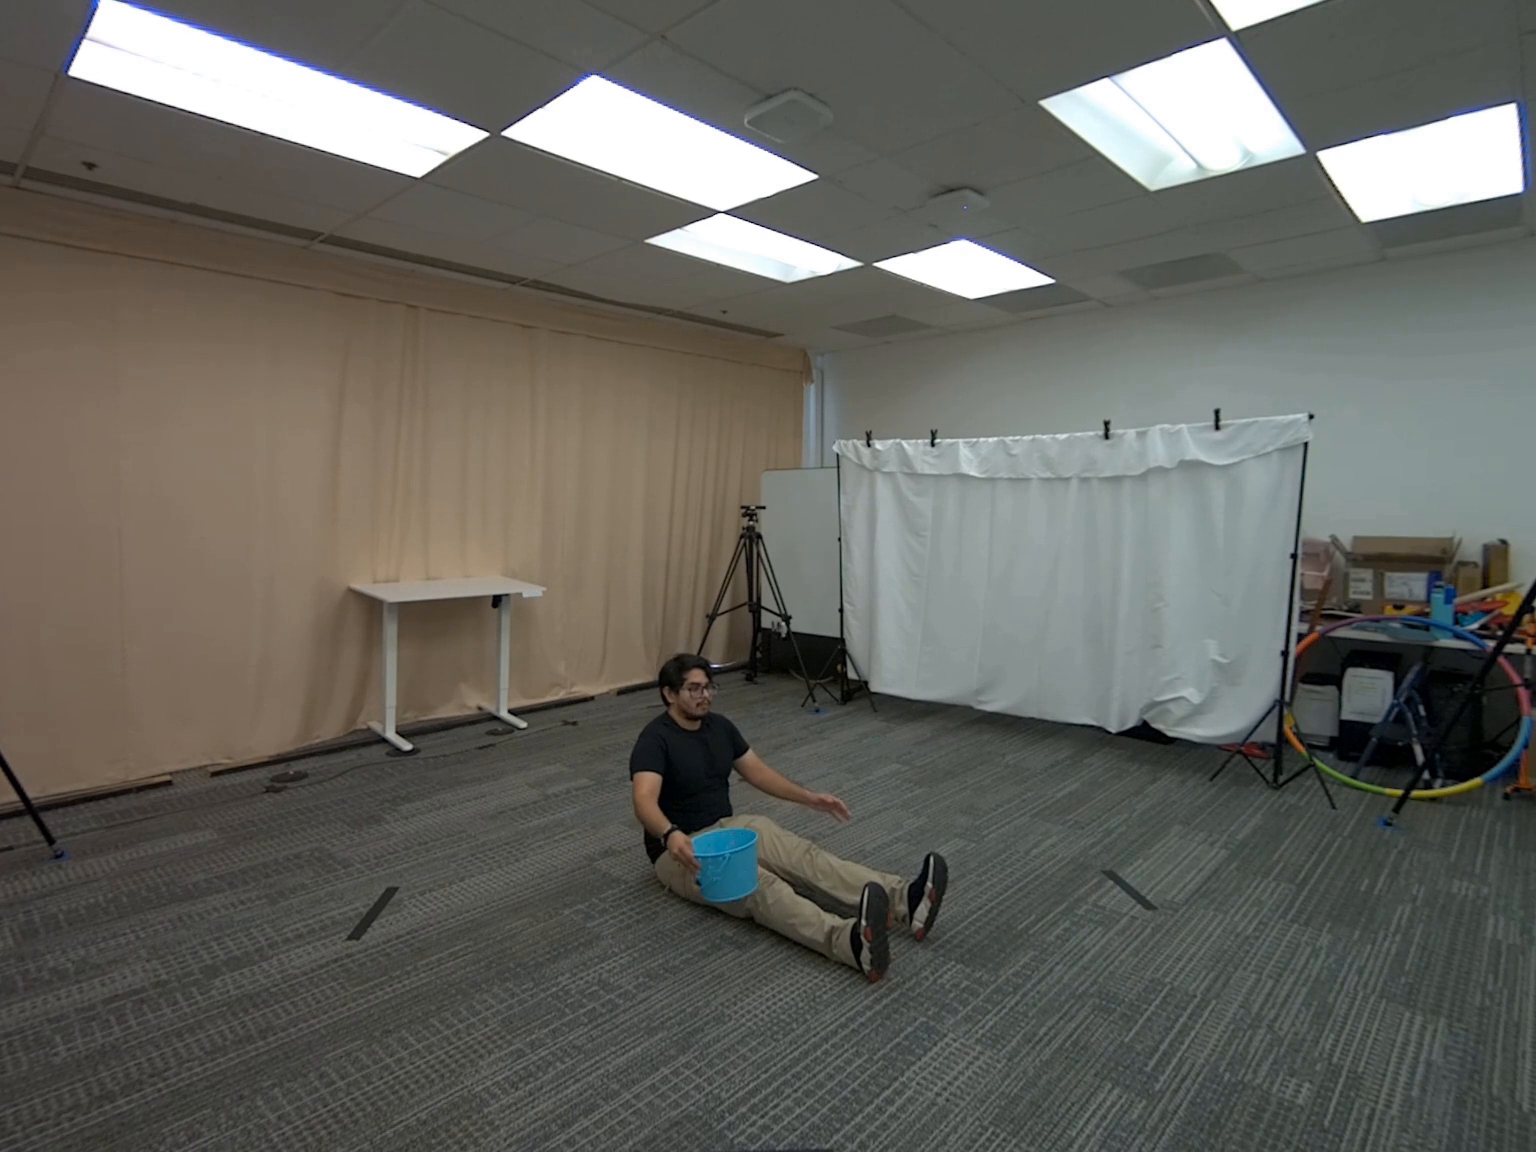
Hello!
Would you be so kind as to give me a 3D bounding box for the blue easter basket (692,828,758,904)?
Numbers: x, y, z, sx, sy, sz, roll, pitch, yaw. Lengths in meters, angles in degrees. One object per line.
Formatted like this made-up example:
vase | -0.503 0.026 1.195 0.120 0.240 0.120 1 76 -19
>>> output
blue easter basket | -0.155 0.908 2.648 0.243 0.156 0.244 -7 2 -2
